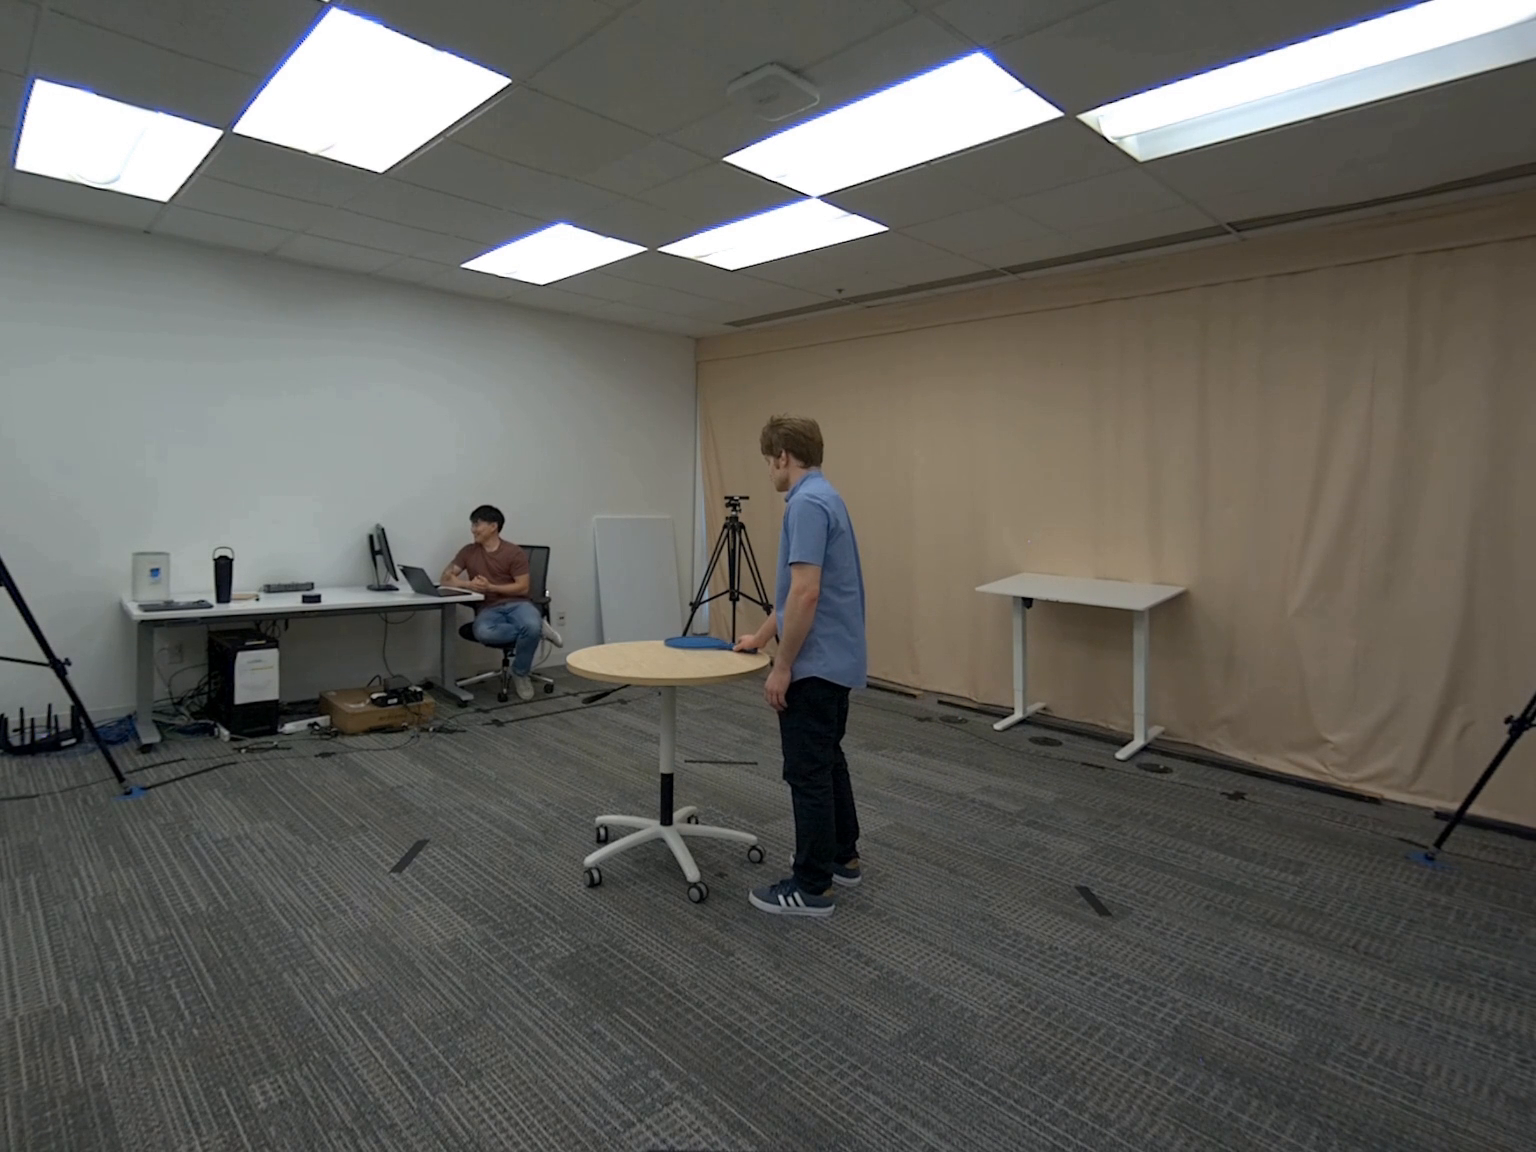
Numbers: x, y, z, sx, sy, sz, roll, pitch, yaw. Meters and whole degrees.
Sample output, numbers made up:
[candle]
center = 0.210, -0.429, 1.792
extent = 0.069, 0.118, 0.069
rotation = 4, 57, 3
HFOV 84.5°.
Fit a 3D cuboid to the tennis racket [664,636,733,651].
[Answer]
[tennis racket]
center = -0.242, 0.279, 3.416
extent = 0.443, 0.031, 0.210
rotation = 2, 9, 34
